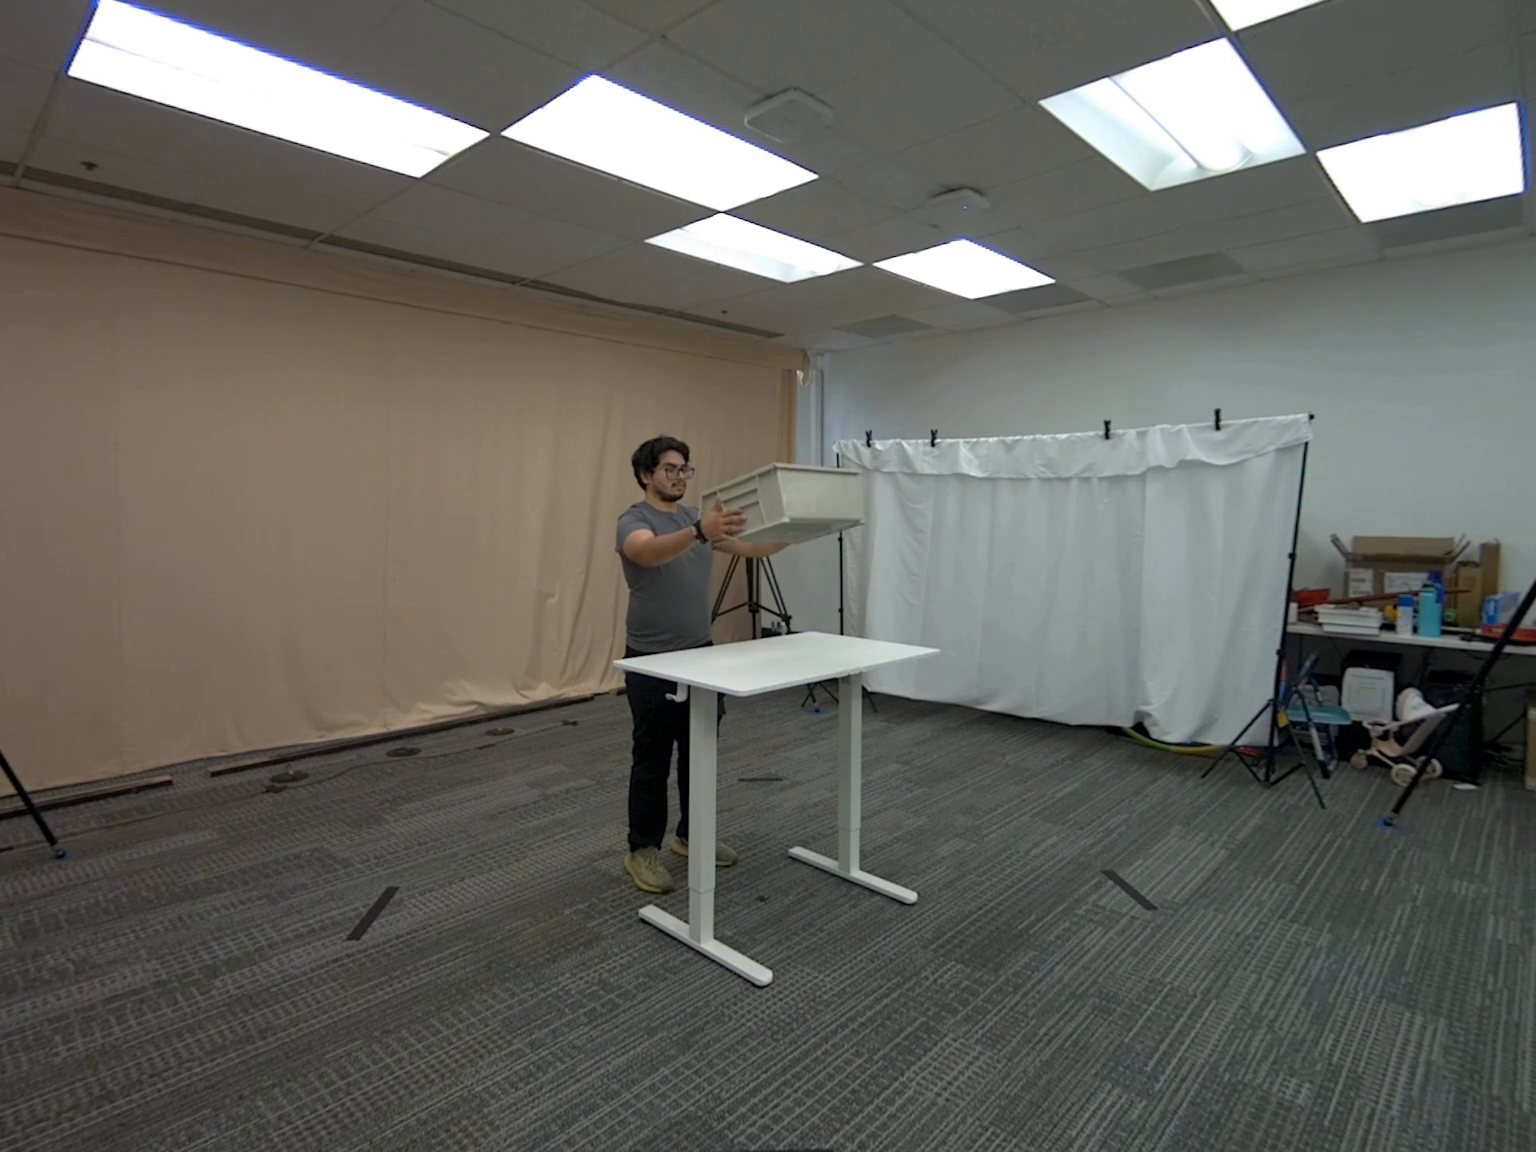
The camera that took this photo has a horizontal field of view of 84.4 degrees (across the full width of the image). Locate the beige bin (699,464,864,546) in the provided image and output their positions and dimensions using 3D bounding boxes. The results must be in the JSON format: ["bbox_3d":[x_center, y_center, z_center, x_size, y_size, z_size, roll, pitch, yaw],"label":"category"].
[{"bbox_3d":[0.048,-0.215,2.765,0.409,0.190,0.387,-2,-9,-45],"label":"beige bin"}]
